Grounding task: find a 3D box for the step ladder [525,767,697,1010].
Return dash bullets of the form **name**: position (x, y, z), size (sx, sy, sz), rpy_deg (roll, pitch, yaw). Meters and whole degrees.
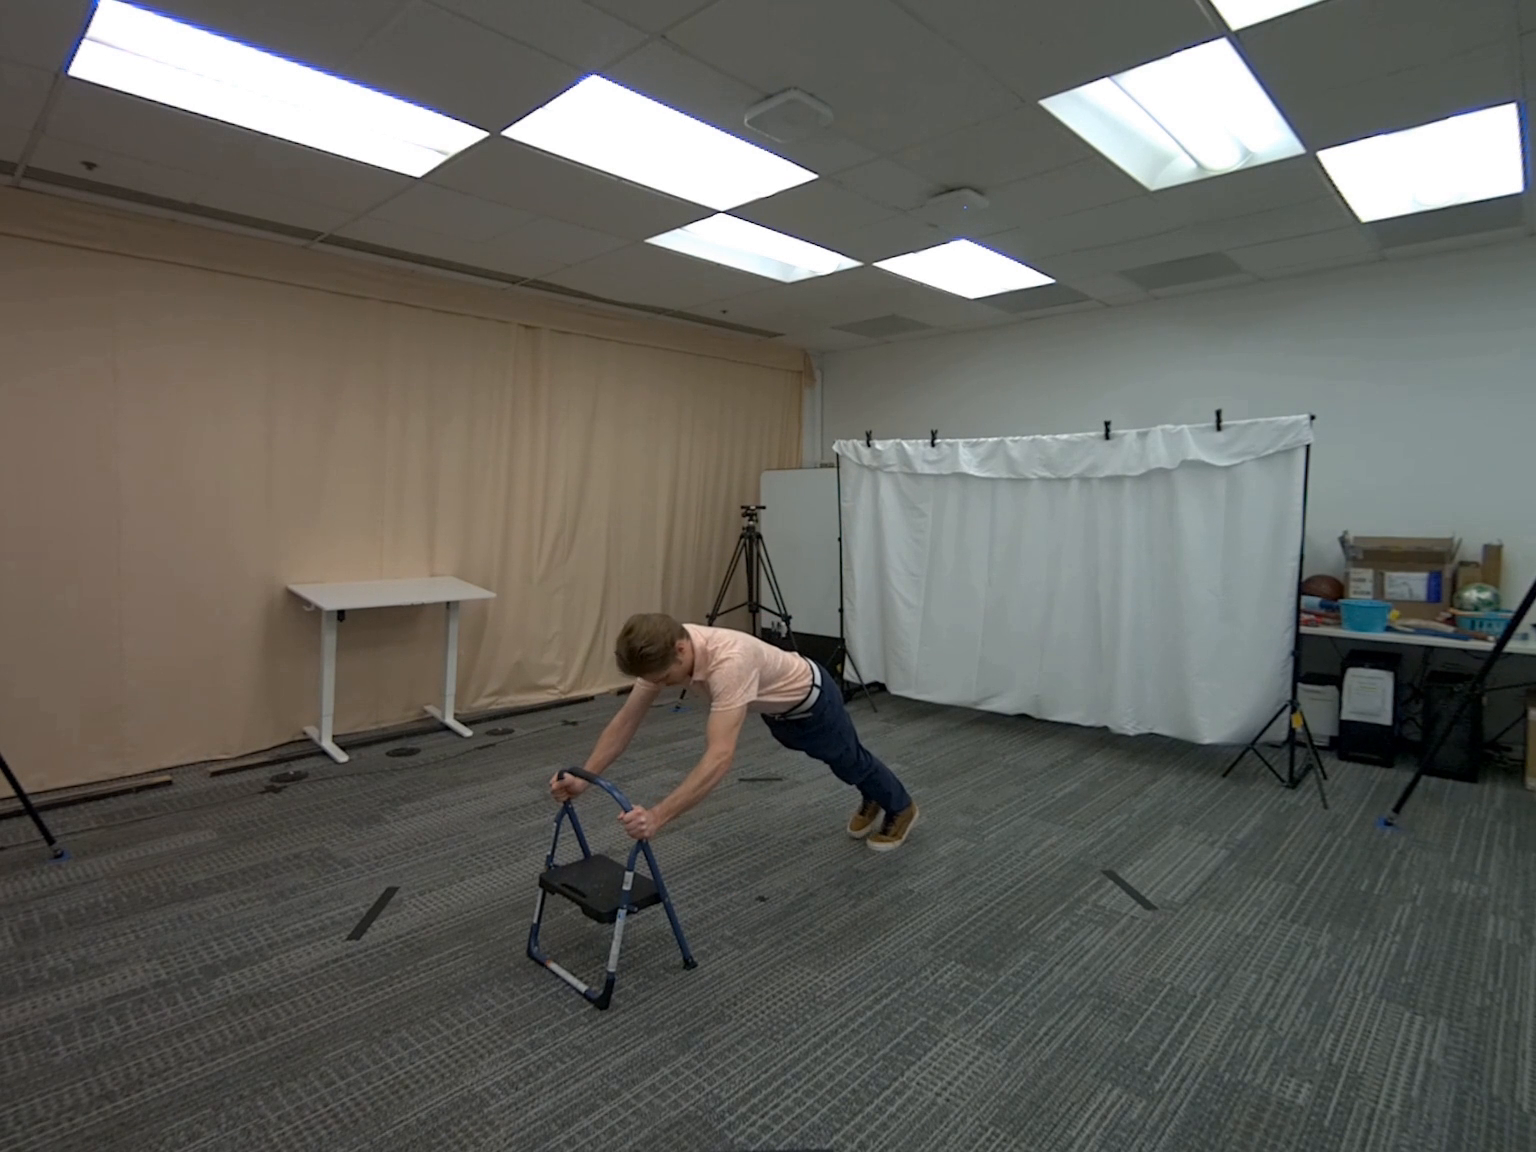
- **step ladder**: position (-0.486, 0.883, 2.567), size (0.445, 0.605, 0.338), rpy_deg (3, 4, 44)
